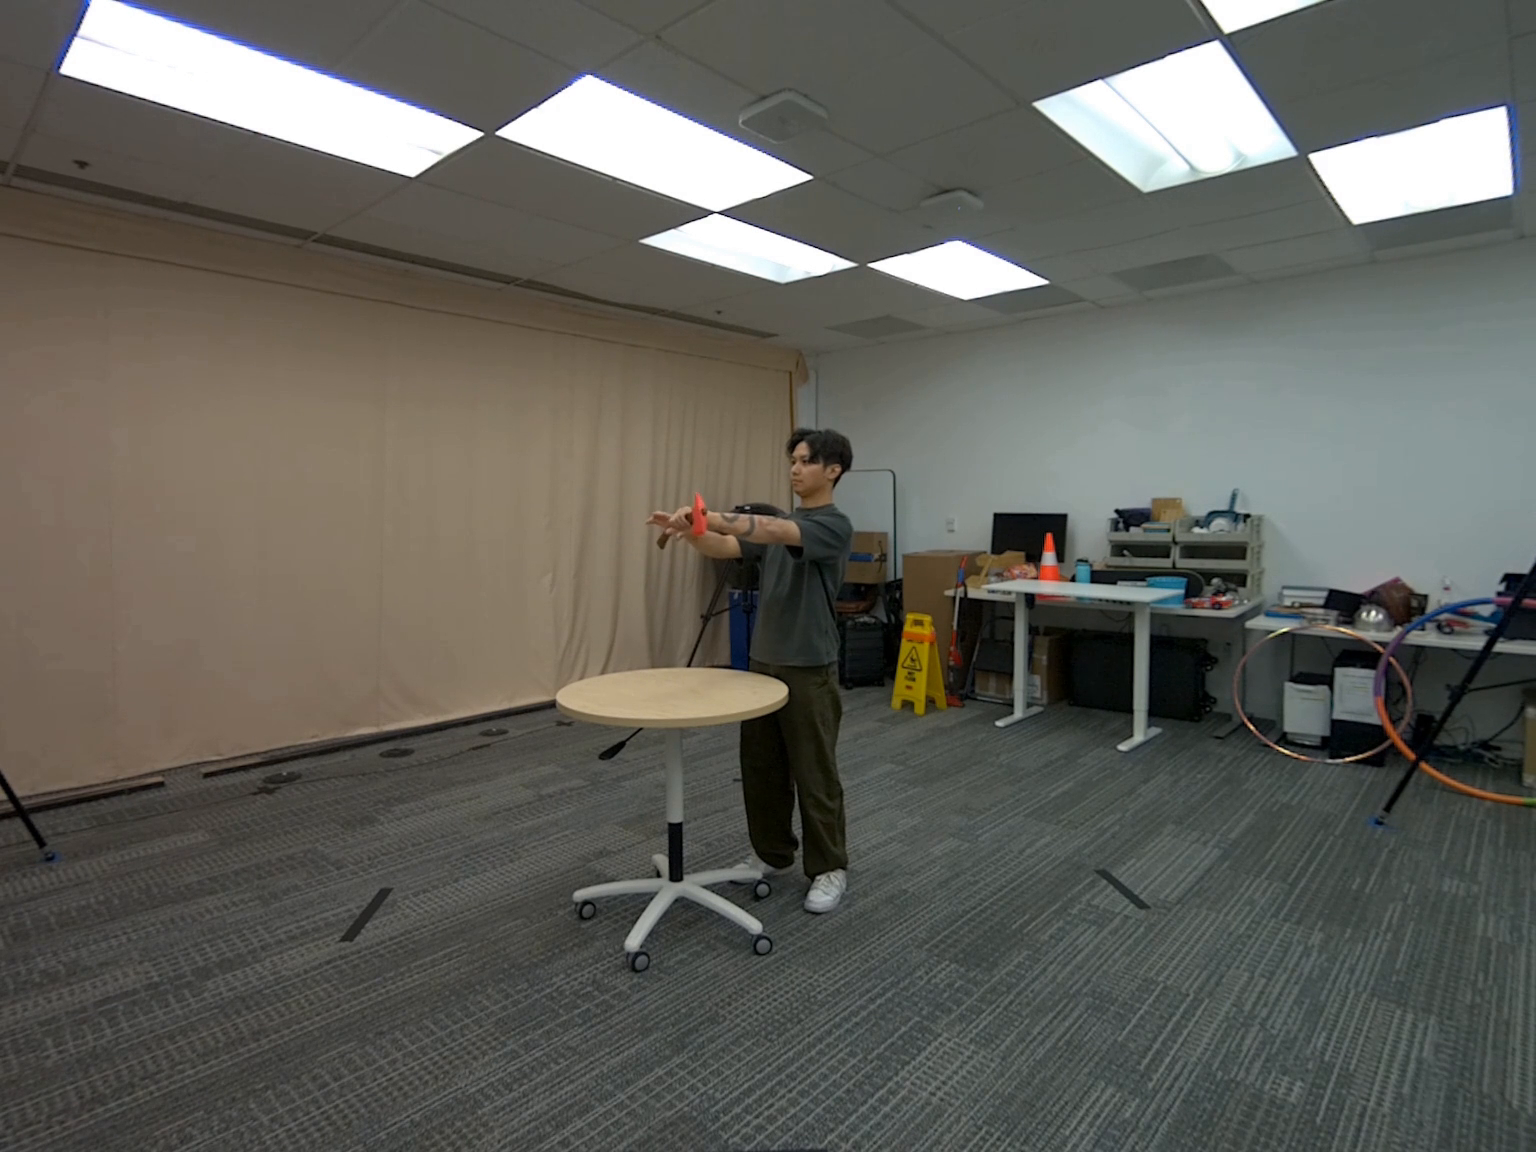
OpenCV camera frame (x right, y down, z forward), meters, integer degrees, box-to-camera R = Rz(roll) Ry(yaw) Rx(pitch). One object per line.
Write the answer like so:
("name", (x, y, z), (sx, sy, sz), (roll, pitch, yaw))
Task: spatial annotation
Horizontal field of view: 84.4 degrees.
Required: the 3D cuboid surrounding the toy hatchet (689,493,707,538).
("toy hatchet", (-0.260, -0.140, 2.700), (0.029, 0.134, 0.272), (-5, -31, -40))
